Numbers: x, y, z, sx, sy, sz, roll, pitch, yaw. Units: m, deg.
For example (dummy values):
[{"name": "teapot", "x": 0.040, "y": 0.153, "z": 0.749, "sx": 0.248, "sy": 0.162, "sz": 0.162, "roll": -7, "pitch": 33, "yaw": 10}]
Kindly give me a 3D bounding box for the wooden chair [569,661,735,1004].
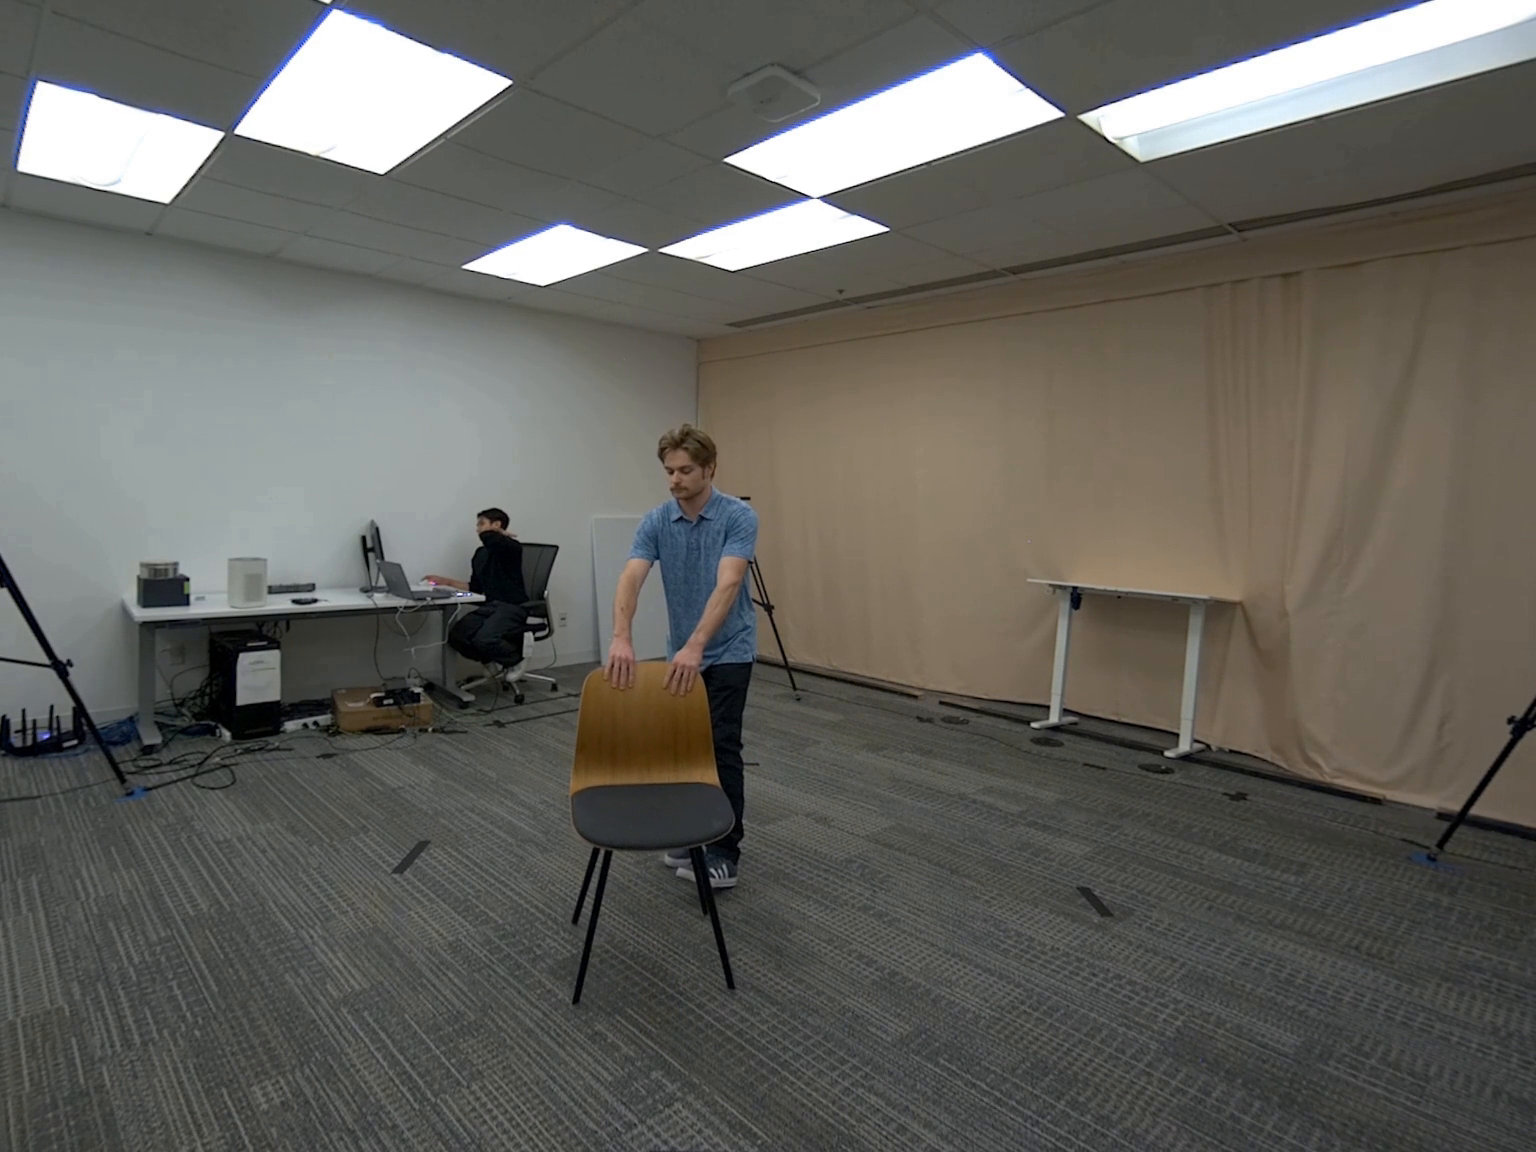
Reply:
[{"name": "wooden chair", "x": -0.356, "y": 0.728, "z": 2.519, "sx": 0.473, "sy": 0.878, "sz": 0.528, "roll": 1, "pitch": -1, "yaw": -13}]
